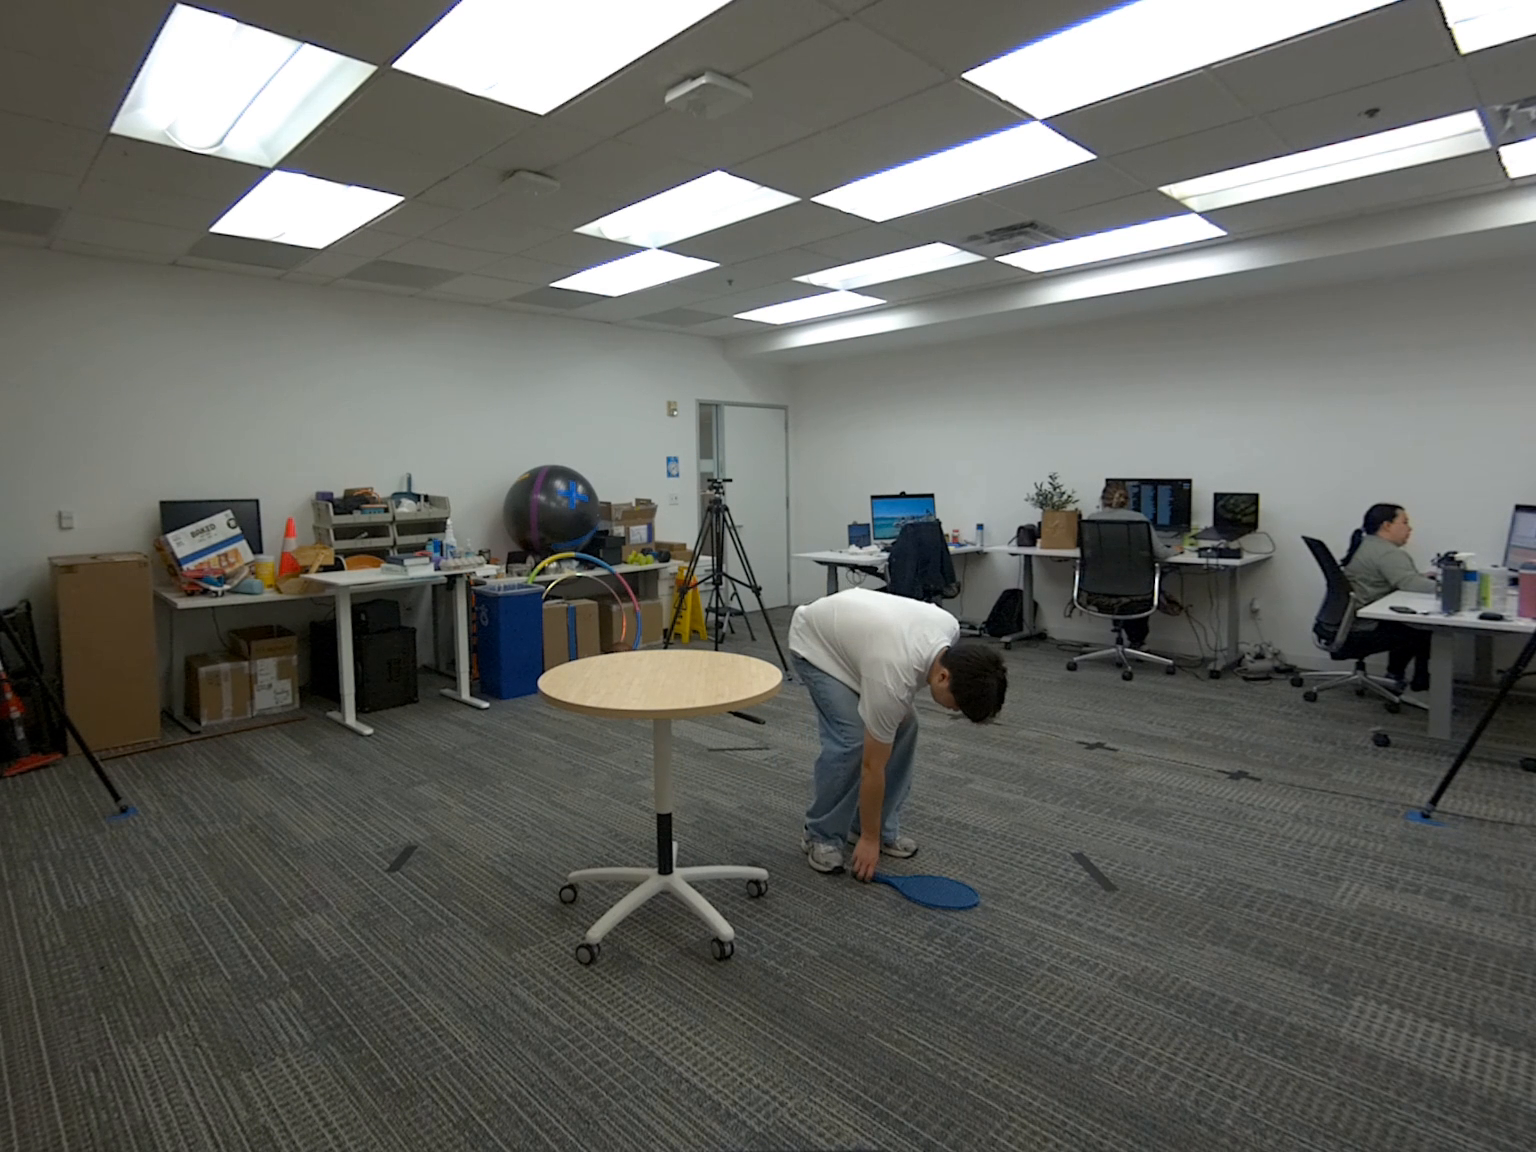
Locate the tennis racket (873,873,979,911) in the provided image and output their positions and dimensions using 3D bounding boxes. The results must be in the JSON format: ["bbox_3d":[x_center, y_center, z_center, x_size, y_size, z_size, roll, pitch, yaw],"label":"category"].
[{"bbox_3d":[0.498,1.045,2.885,0.444,0.031,0.209,4,9,28],"label":"tennis racket"}]
